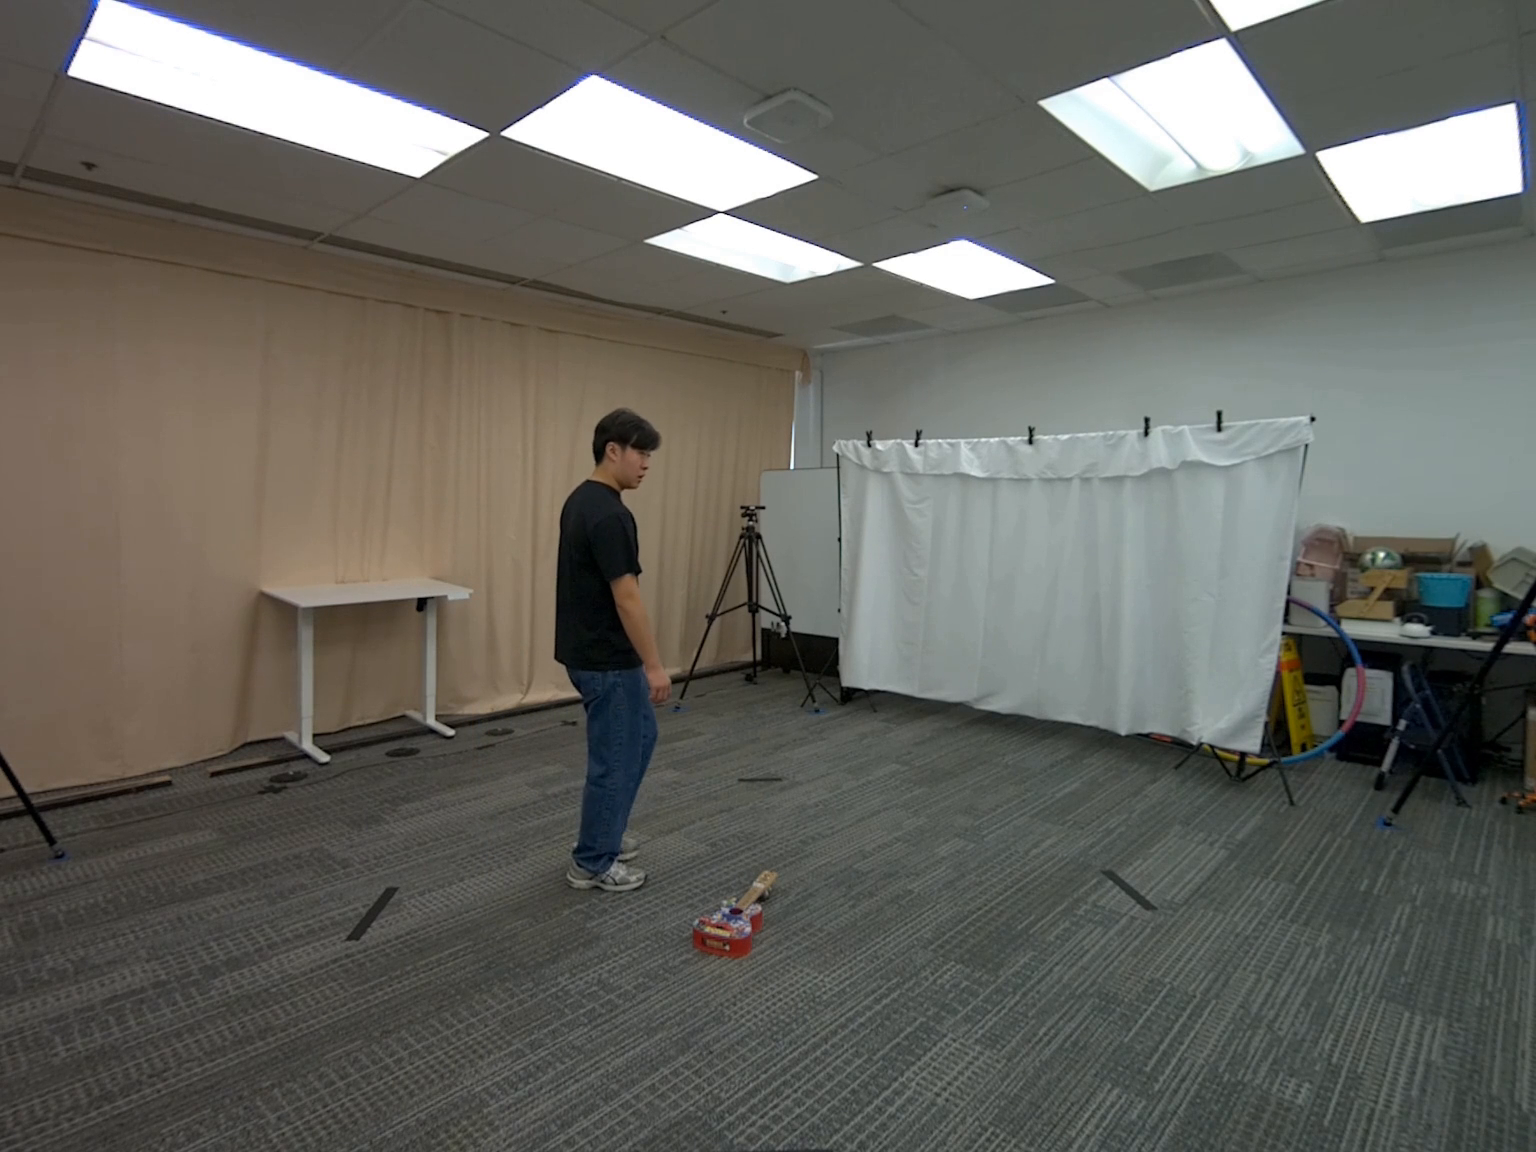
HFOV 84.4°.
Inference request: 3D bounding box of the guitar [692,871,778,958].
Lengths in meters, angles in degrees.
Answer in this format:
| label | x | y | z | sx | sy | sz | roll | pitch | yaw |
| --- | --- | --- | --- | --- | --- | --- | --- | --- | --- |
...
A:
| label | x | y | z | sx | sy | sz | roll | pitch | yaw |
| --- | --- | --- | --- | --- | --- | --- | --- | --- | --- |
| guitar | -0.051 | 1.126 | 2.818 | 0.199 | 0.070 | 0.484 | 3 | 6 | 32 |
